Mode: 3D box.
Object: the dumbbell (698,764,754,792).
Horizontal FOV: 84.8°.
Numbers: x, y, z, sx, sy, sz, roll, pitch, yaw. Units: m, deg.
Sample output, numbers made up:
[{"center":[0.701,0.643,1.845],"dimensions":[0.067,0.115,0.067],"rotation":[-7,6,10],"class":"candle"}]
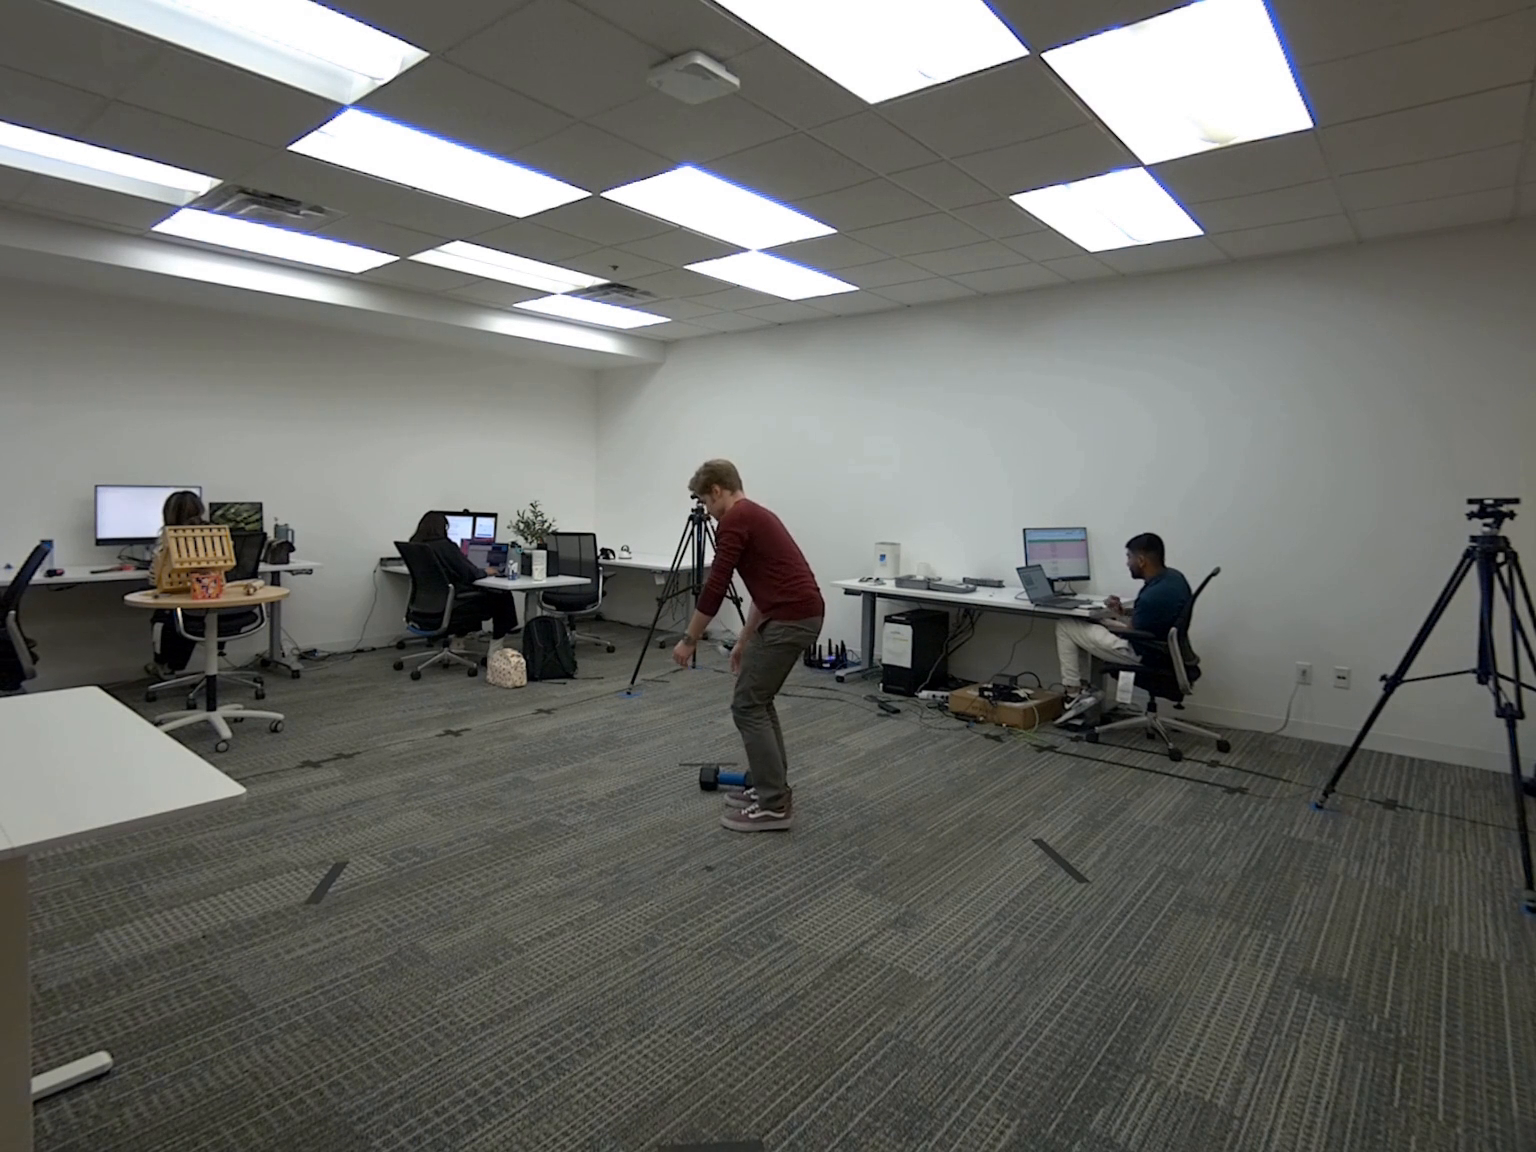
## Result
[{"center":[-0.175,0.933,3.925],"dimensions":[0.297,0.125,0.105],"rotation":[2,-27,10],"class":"dumbbell"}]
